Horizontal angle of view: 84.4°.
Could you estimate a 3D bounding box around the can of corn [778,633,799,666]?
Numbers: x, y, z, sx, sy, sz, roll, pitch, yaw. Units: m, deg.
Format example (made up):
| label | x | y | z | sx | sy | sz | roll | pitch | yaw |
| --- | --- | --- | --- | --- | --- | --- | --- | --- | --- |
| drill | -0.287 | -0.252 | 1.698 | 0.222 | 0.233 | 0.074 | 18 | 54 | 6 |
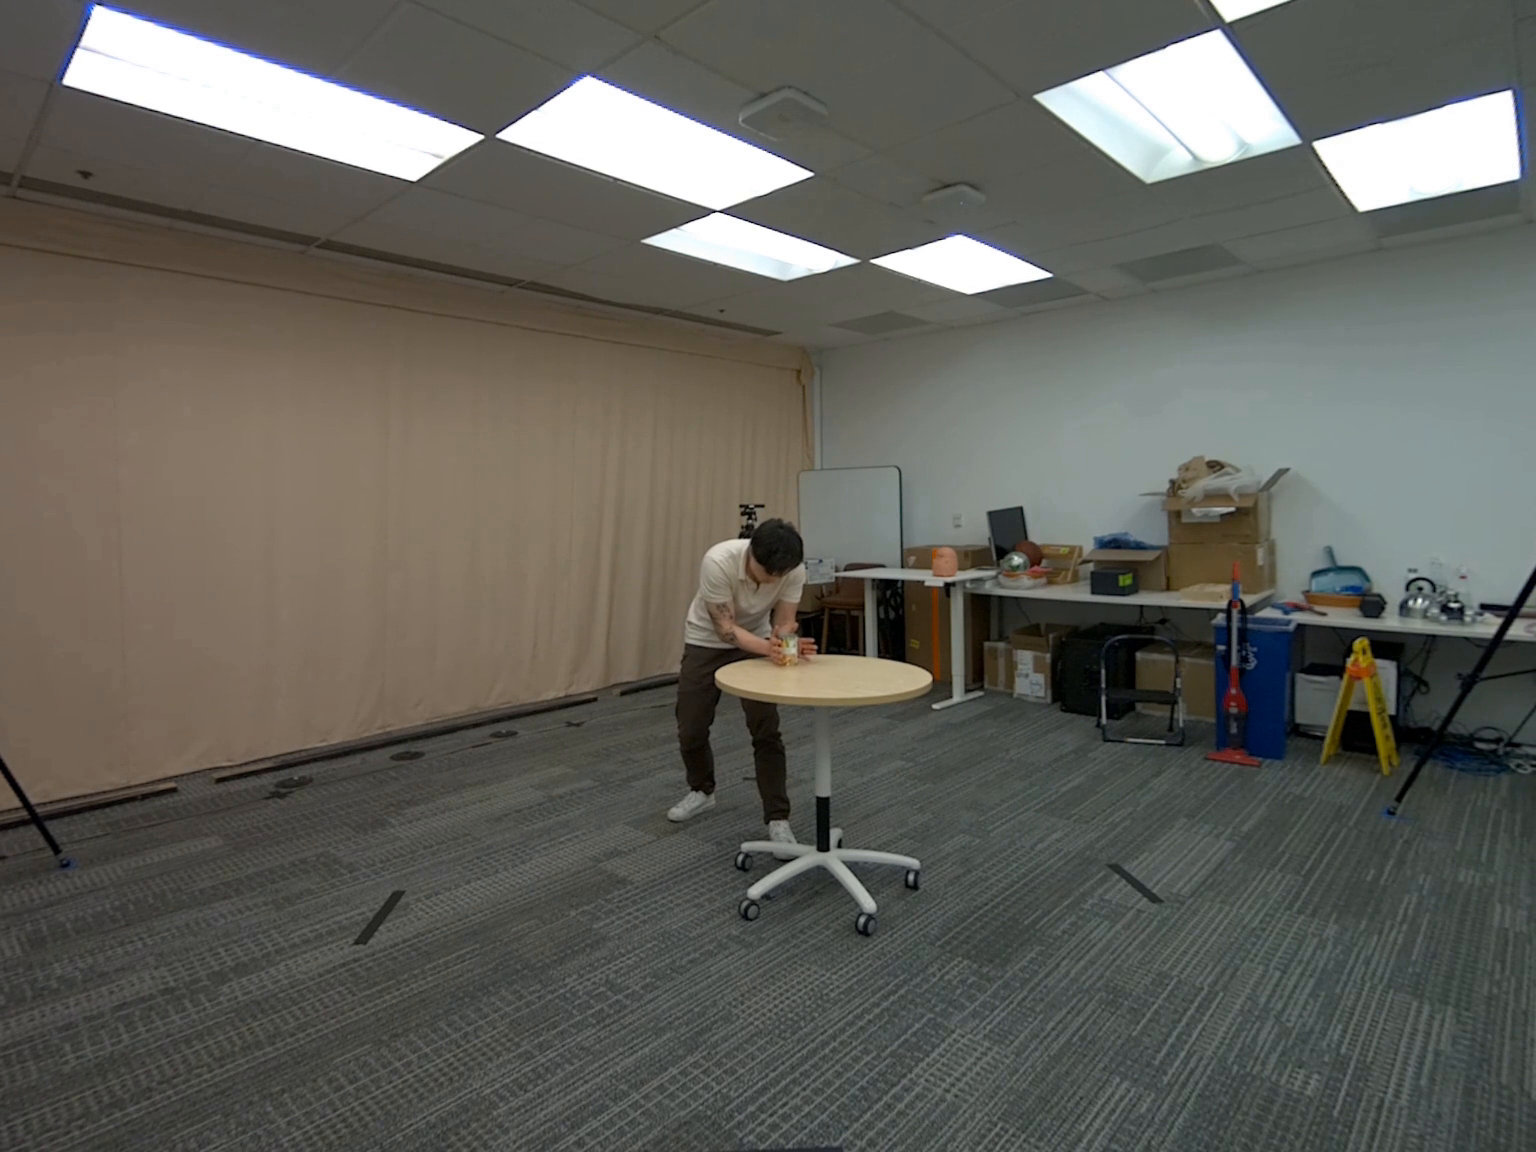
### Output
| label | x | y | z | sx | sy | sz | roll | pitch | yaw |
| --- | --- | --- | --- | --- | --- | --- | --- | --- | --- |
| can of corn | 0.070 | 0.284 | 3.190 | 0.074 | 0.111 | 0.074 | -6 | 0 | -2 |
